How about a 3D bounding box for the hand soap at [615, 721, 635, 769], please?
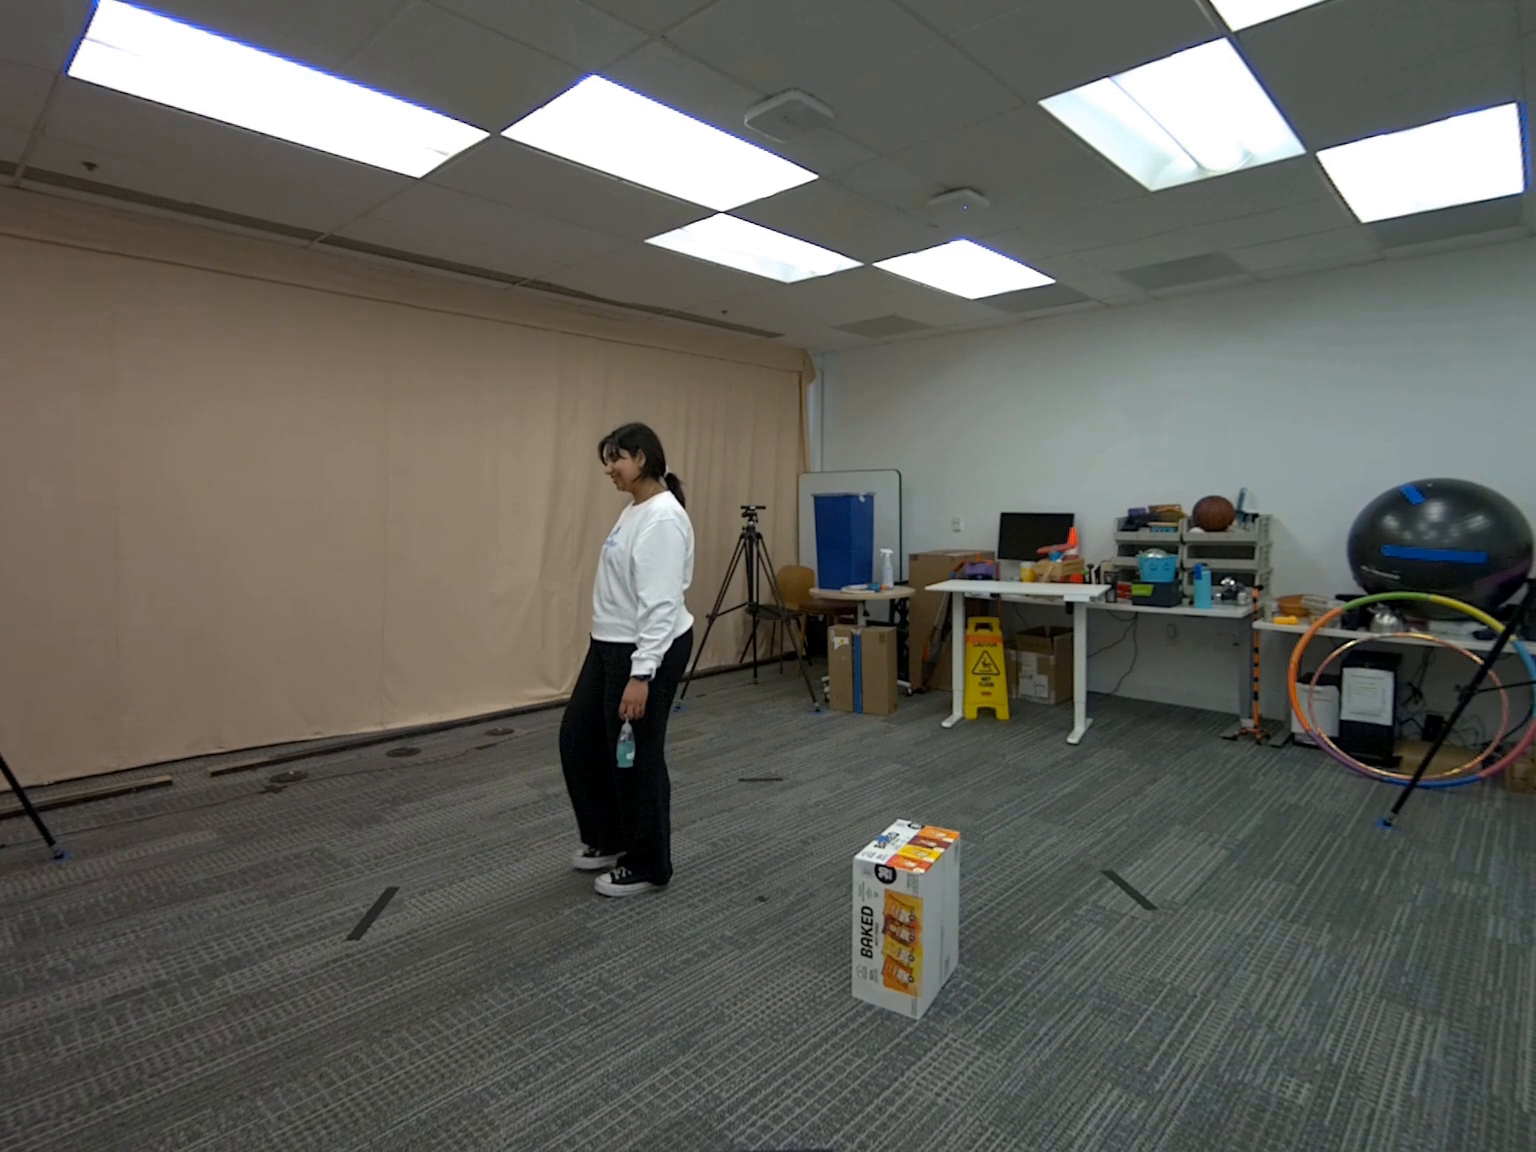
[{"bbox_3d":[-0.460,0.539,2.766,0.044,0.169,0.083,-1,-6,16],"label":"hand soap"}]
